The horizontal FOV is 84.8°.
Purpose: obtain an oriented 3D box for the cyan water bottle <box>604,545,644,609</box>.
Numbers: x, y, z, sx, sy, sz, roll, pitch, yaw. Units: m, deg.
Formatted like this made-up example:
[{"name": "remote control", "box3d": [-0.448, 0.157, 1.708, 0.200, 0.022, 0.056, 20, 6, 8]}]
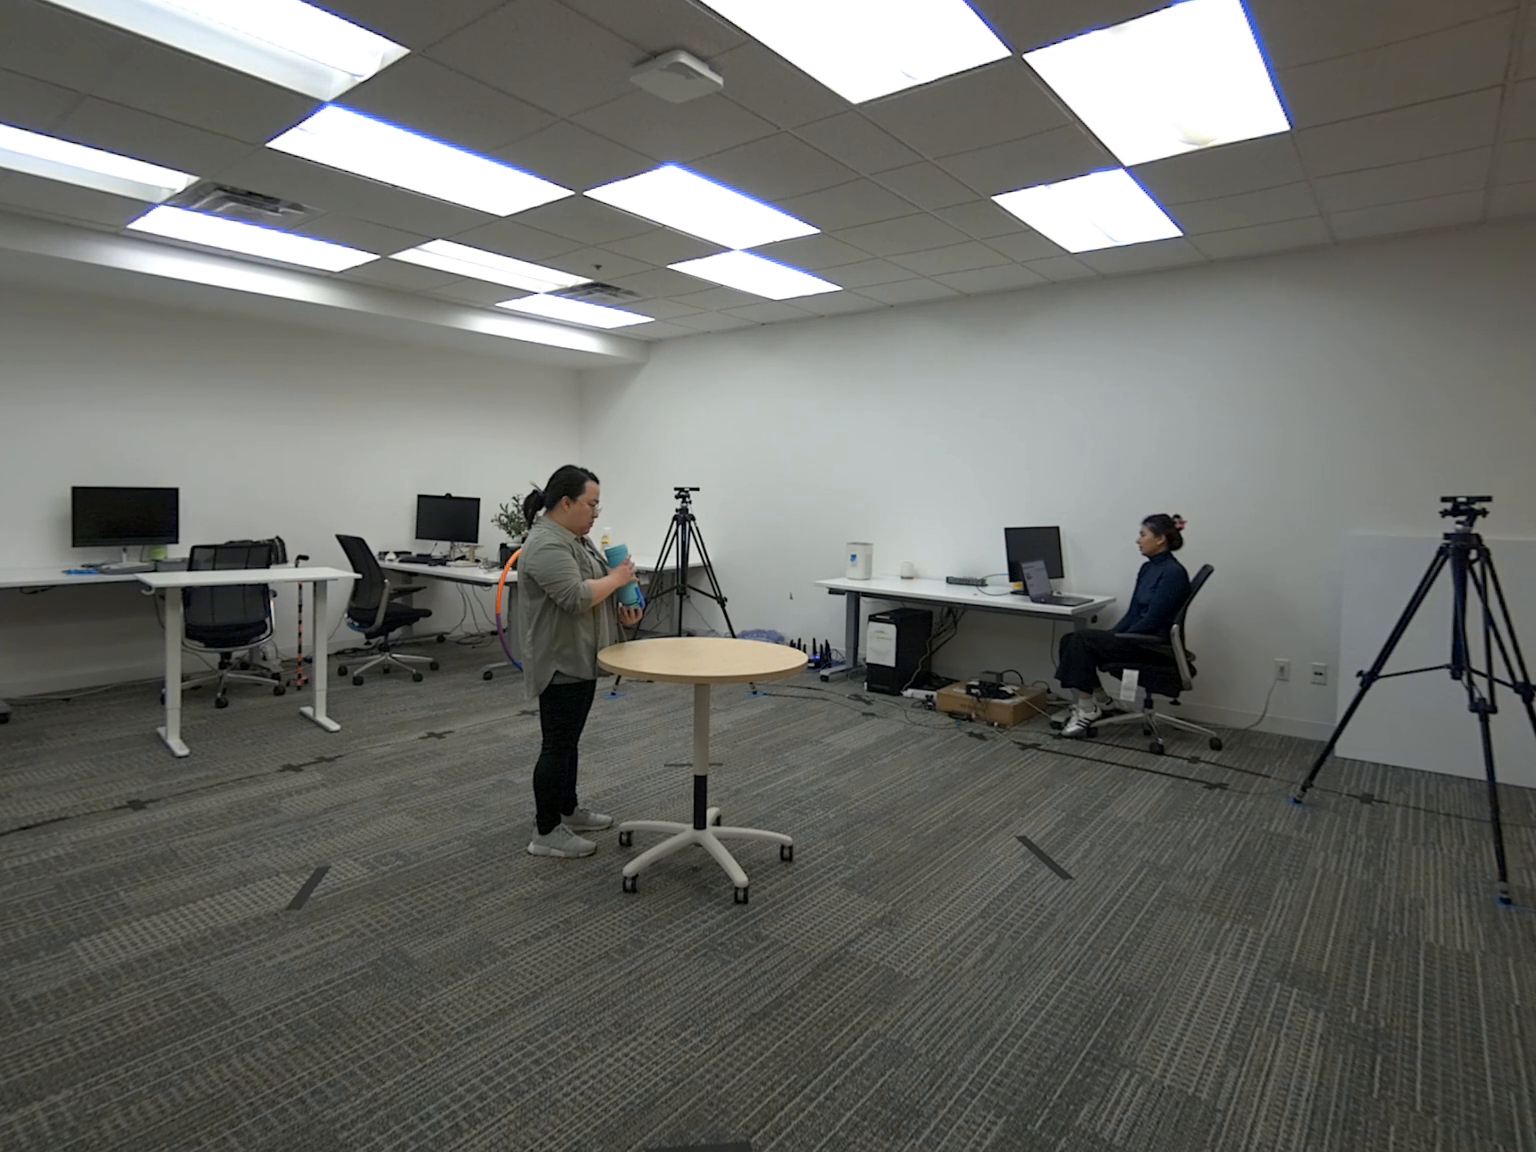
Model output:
[{"name": "cyan water bottle", "box3d": [-0.578, 0.021, 3.344, 0.092, 0.282, 0.093, -17, 4, 0]}]
